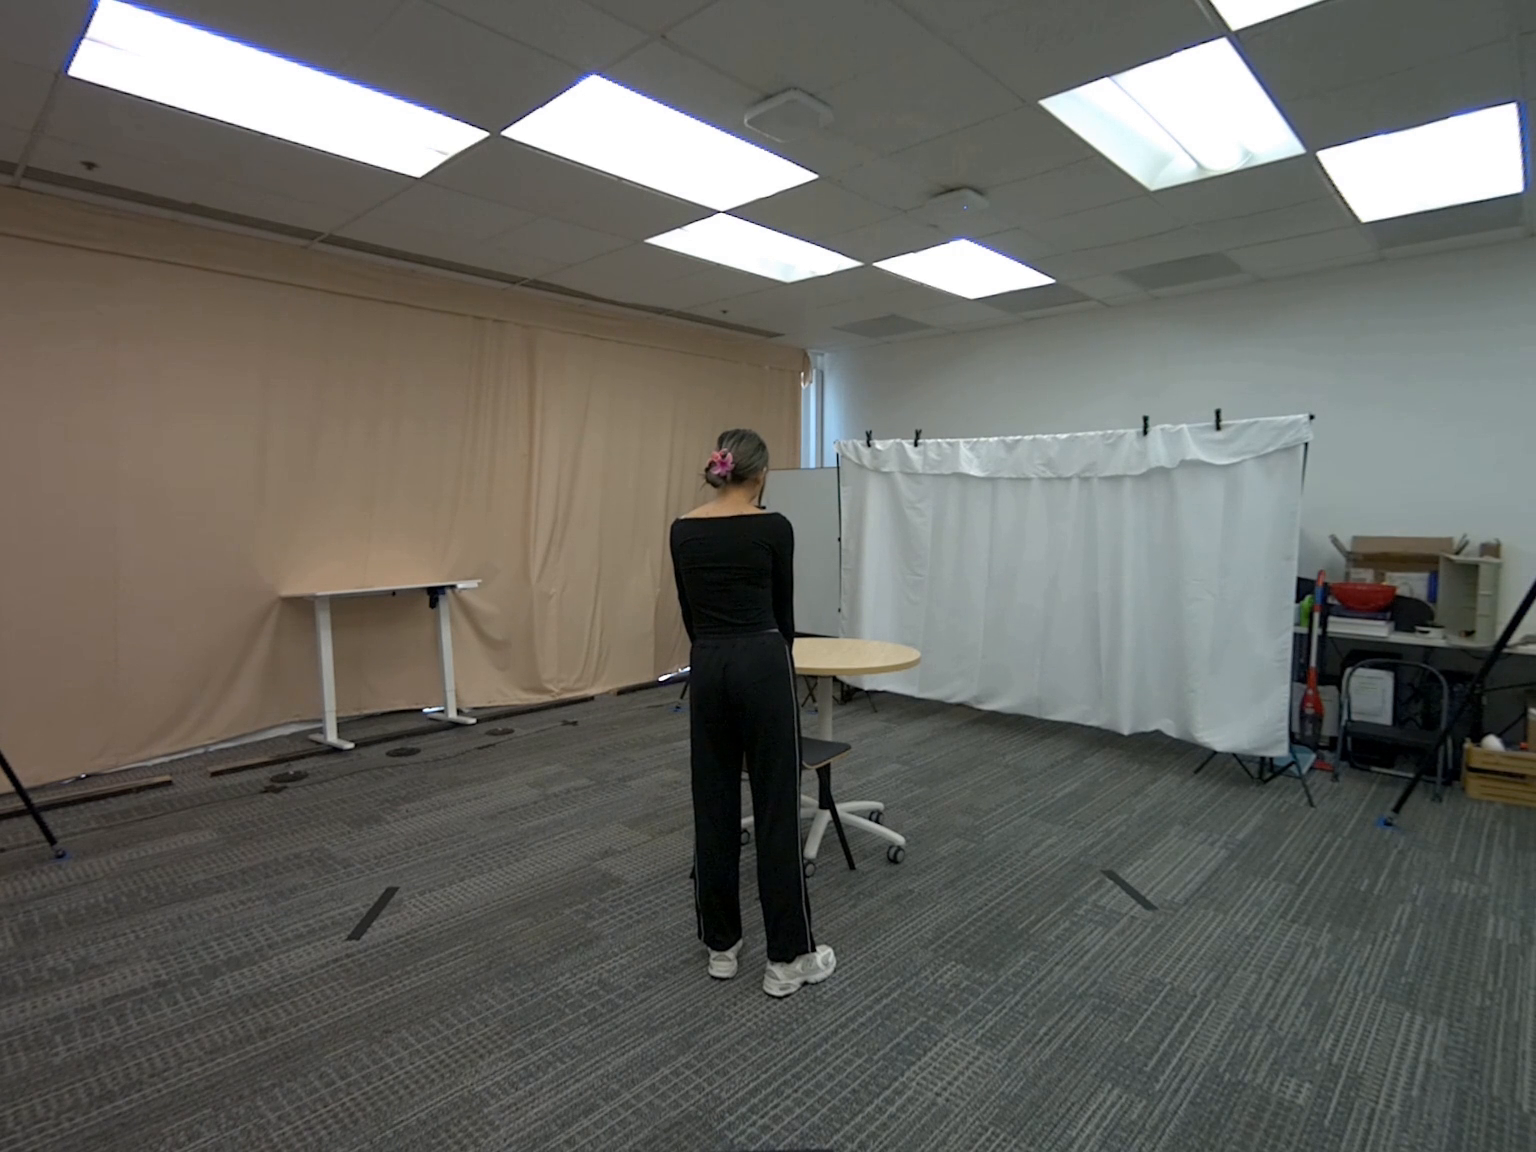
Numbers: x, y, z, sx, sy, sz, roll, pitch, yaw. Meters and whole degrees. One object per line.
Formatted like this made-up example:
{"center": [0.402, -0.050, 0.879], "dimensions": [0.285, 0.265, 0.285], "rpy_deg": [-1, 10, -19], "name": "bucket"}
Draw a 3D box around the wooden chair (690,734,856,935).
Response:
{"center": [0.020, 0.697, 3.154], "dimensions": [0.493, 0.873, 0.509], "rpy_deg": [2, 8, 38], "name": "wooden chair"}
